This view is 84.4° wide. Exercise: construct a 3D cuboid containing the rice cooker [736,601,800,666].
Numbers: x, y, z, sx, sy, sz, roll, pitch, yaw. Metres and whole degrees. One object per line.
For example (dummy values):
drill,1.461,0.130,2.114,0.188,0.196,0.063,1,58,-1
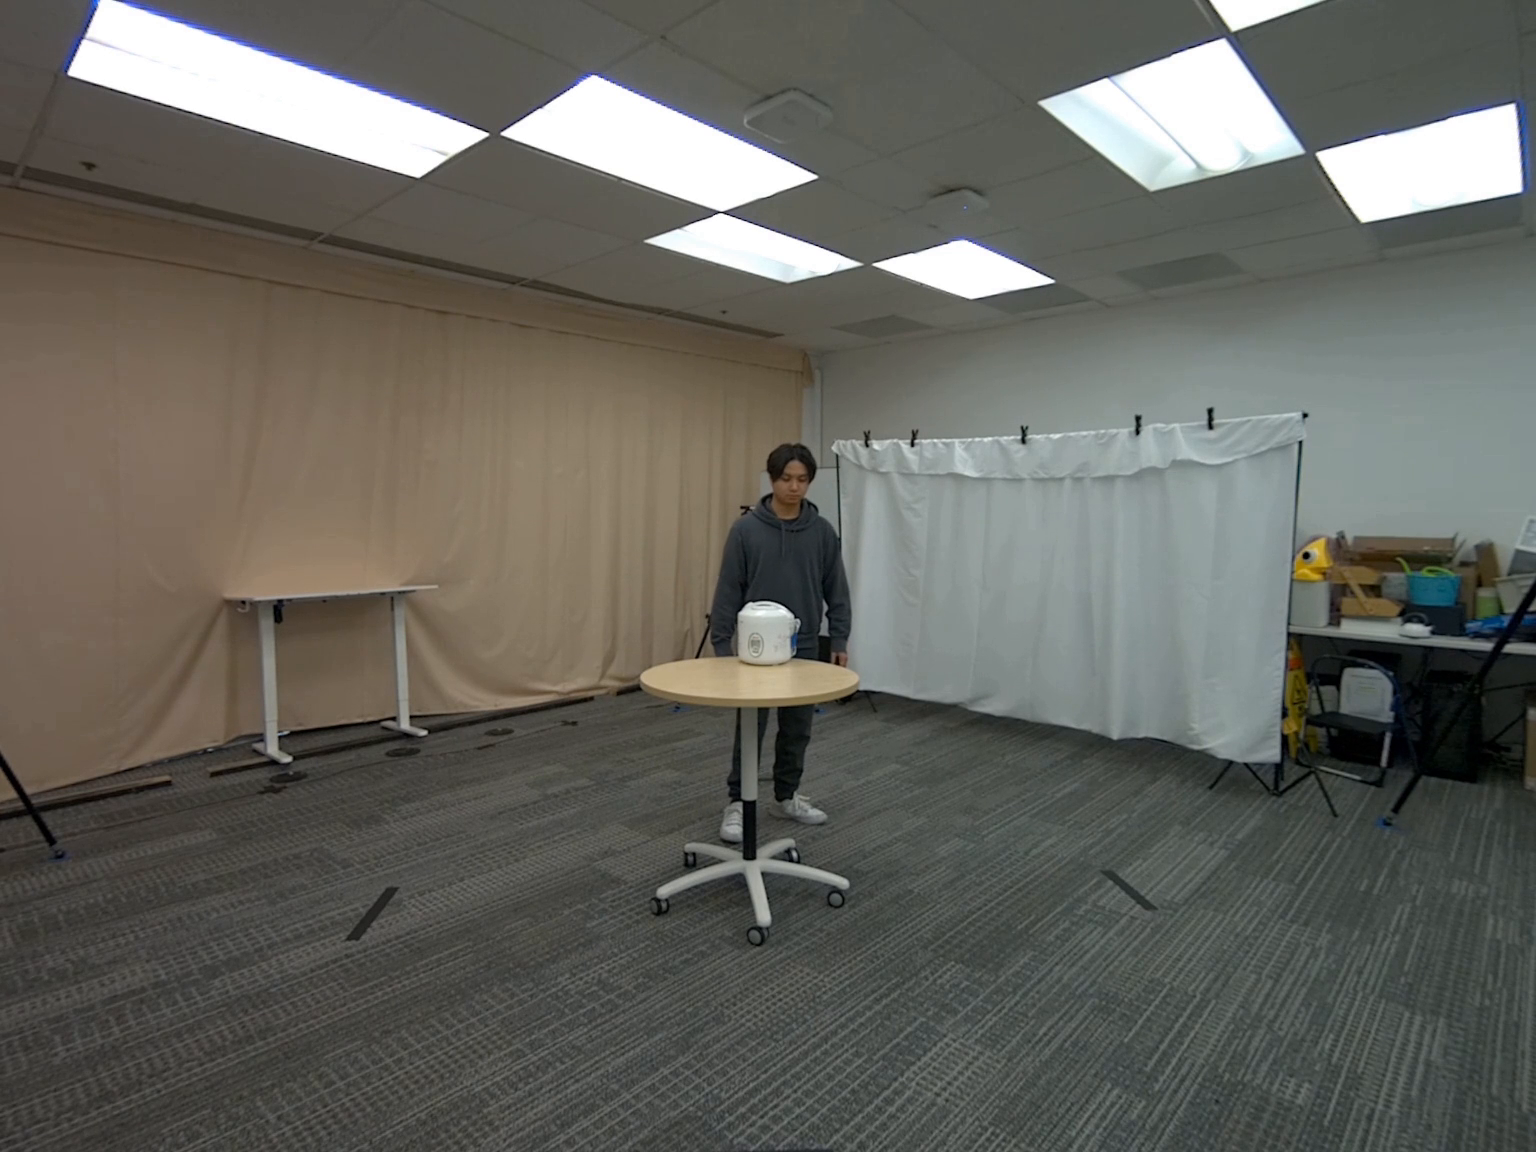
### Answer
rice cooker,-0.011,0.211,3.222,0.225,0.232,0.213,1,3,20
